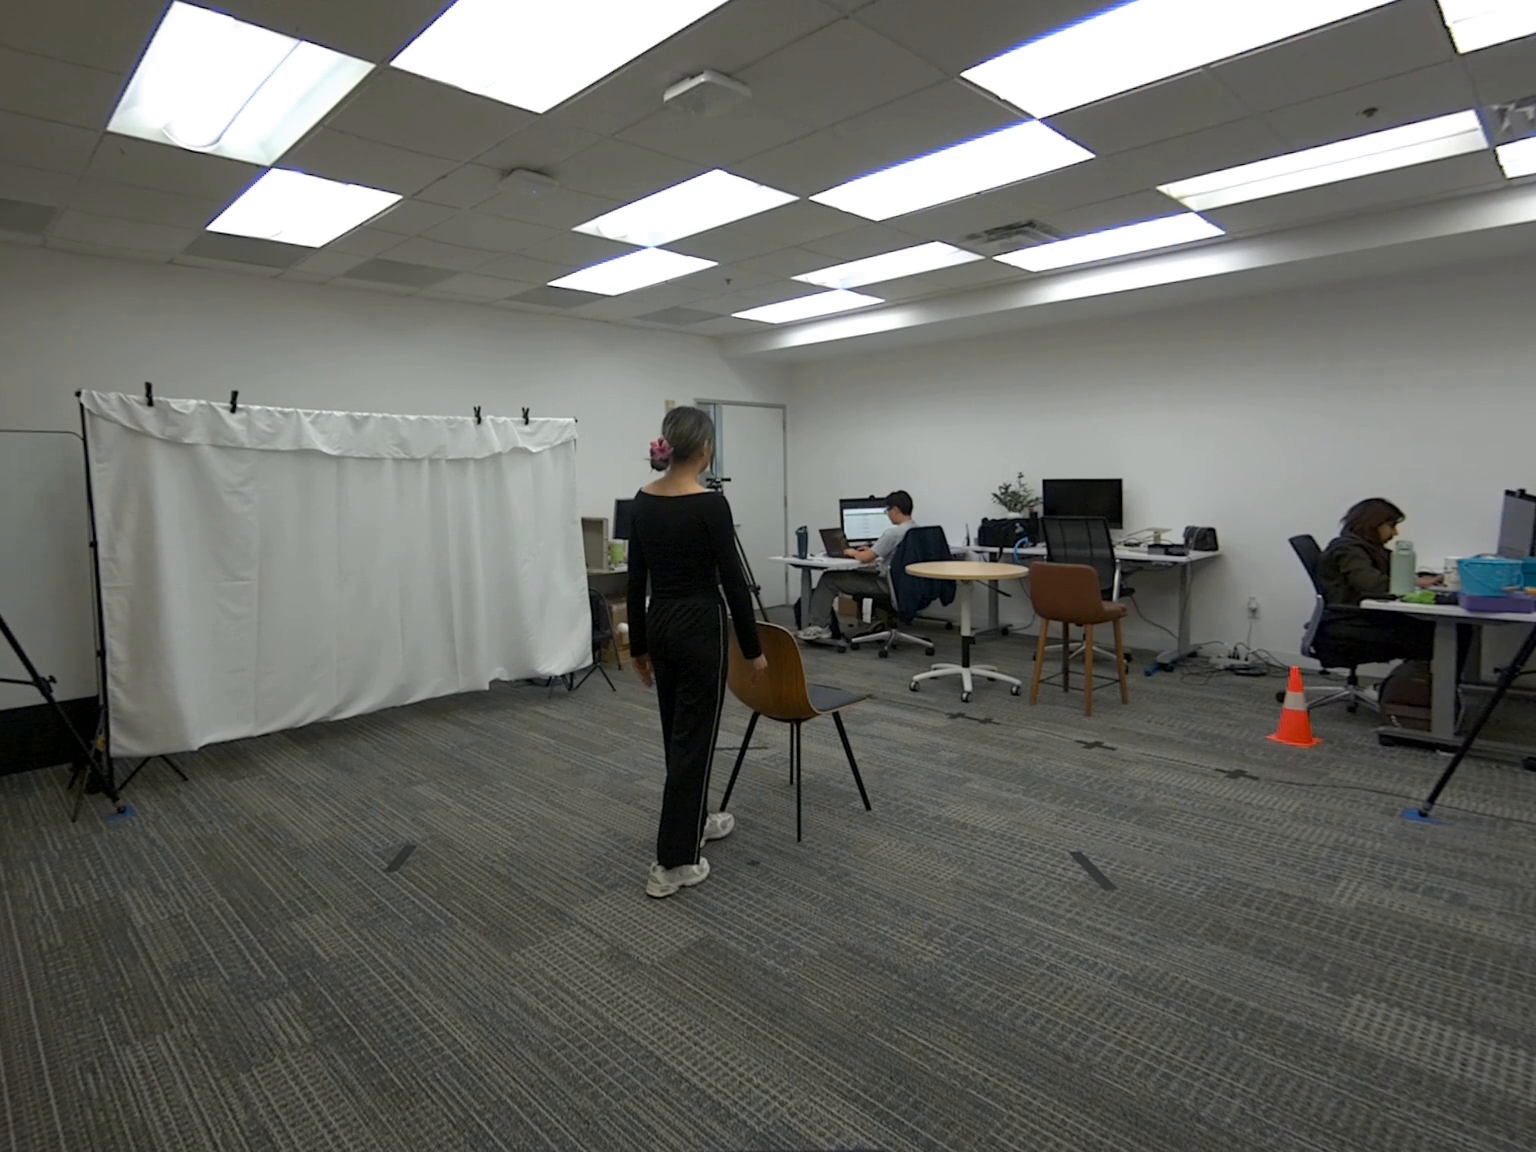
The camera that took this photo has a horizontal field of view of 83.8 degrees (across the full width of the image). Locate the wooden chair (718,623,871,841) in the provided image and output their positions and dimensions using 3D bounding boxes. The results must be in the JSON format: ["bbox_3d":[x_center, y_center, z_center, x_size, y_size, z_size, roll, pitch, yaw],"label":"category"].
[{"bbox_3d":[0.116,0.560,3.566,0.511,0.871,0.493,-11,10,-44],"label":"wooden chair"}]
